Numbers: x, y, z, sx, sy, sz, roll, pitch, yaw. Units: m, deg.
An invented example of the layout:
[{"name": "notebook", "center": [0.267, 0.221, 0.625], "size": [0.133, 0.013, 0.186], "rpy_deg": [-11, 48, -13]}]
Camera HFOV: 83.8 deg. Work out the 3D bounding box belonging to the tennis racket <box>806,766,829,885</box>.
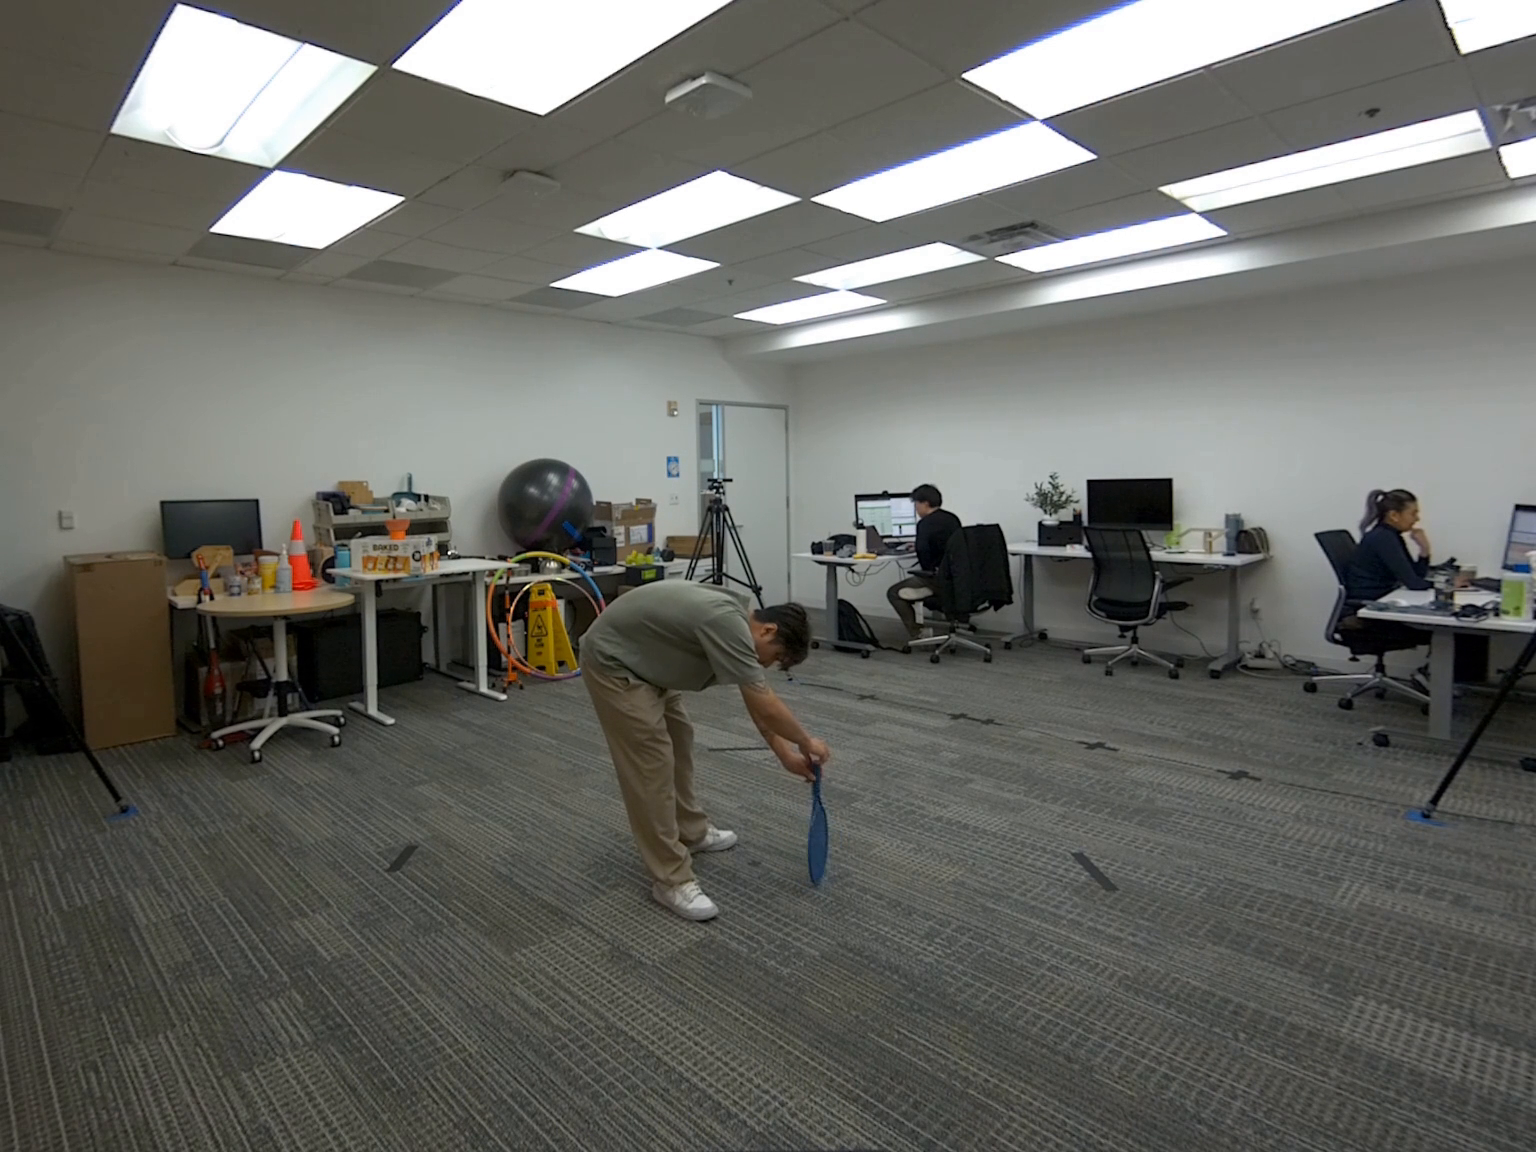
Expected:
[{"name": "tennis racket", "center": [0.172, 0.846, 2.925], "size": [0.032, 0.428, 0.212], "rpy_deg": [-2, 11, 15]}]
